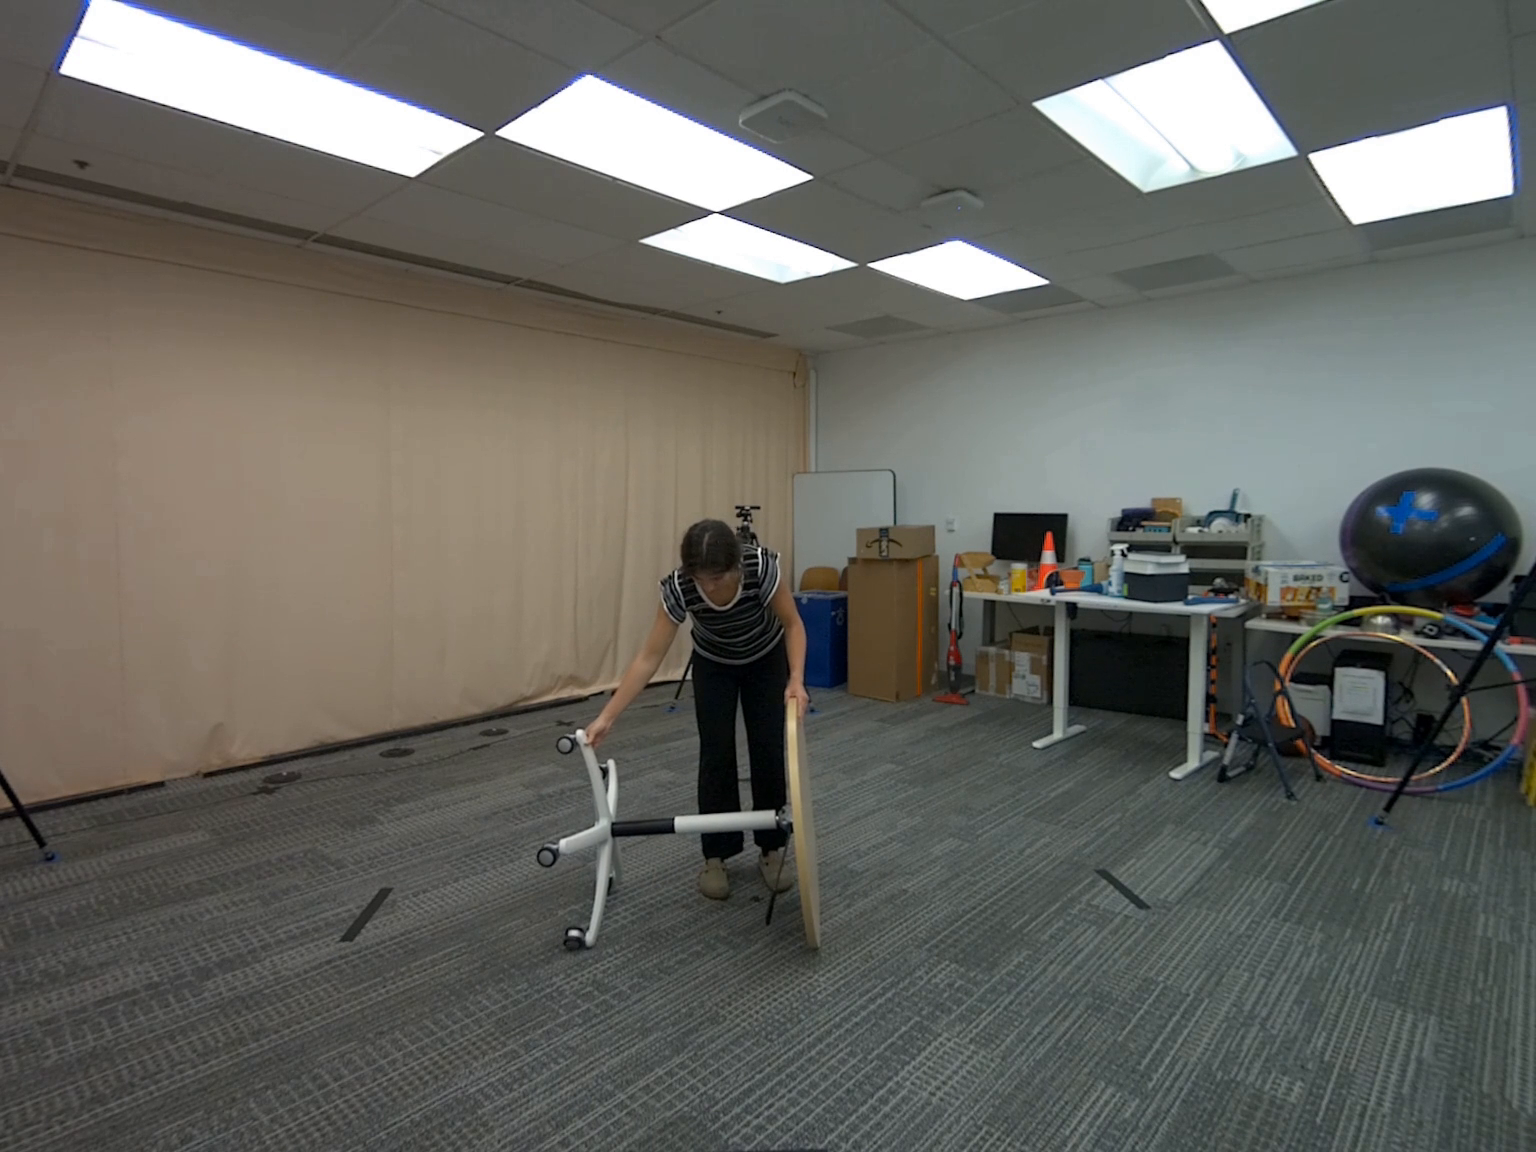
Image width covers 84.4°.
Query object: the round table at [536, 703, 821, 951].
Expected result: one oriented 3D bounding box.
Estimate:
[{"bbox_3d":[-0.268,0.832,2.776,0.798,0.762,0.761,-6,3,5],"label":"round table"}]
